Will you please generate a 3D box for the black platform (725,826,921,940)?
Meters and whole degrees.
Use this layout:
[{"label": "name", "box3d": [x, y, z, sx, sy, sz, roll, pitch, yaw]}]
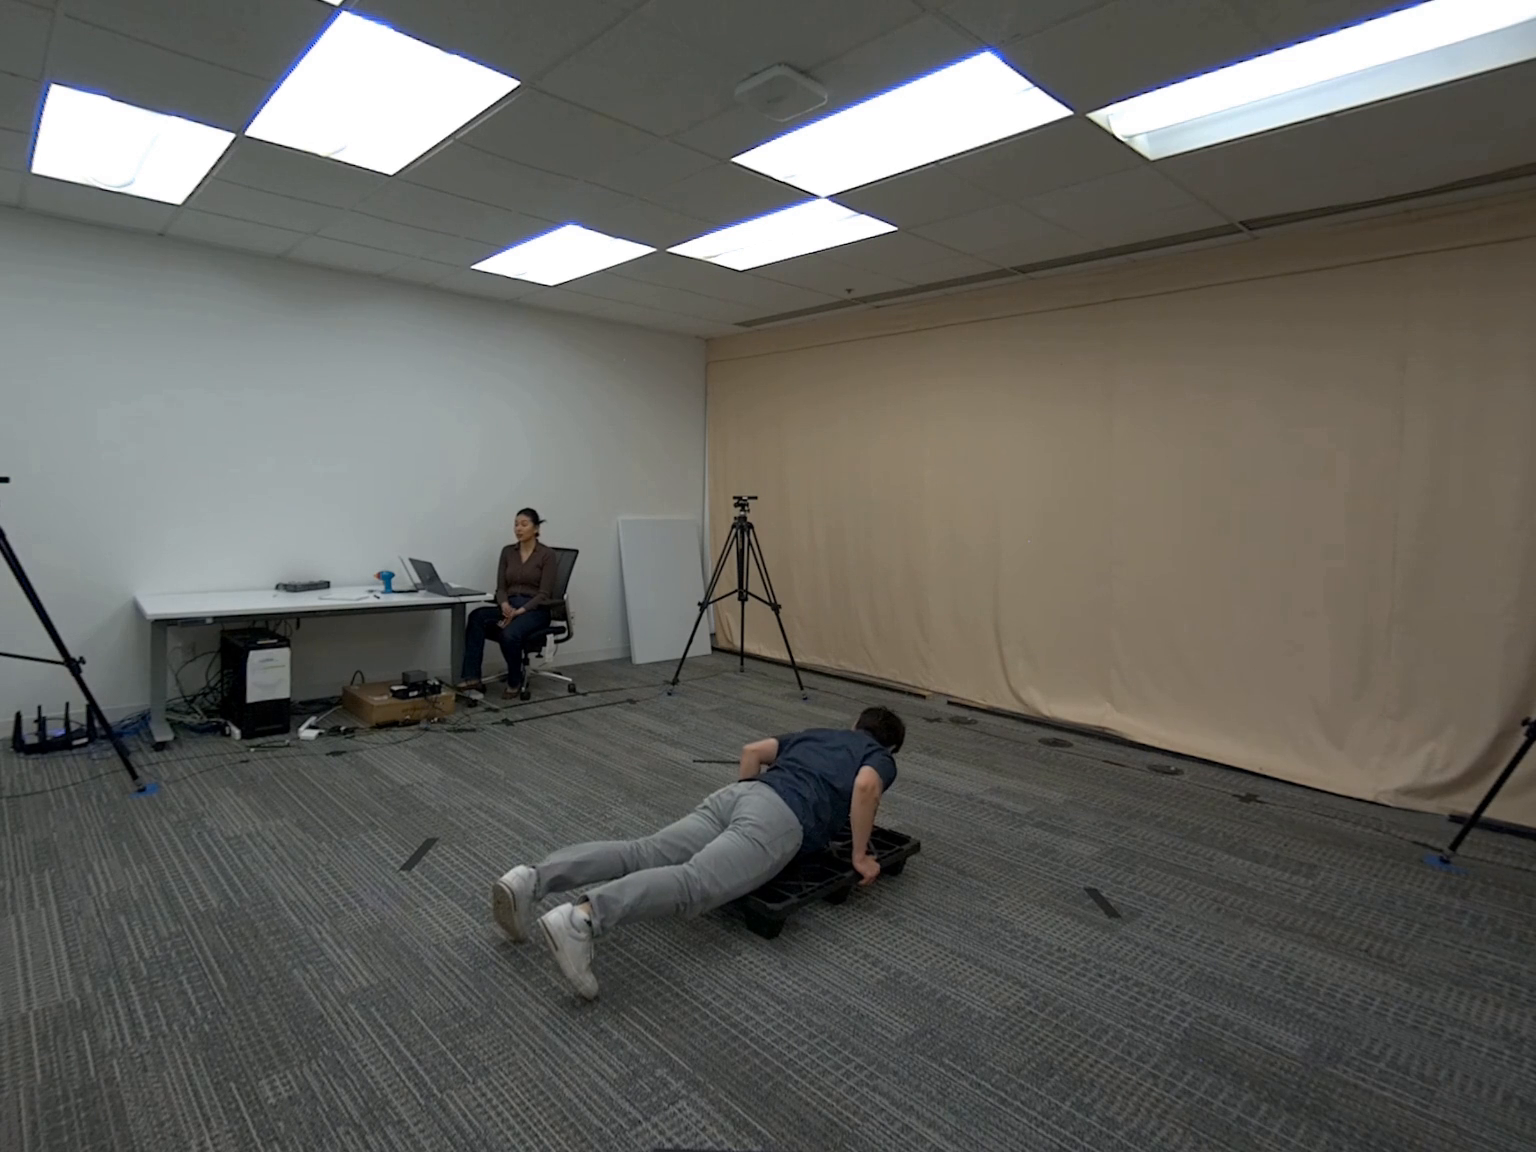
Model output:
[{"label": "black platform", "box3d": [0.084, 1.052, 3.064, 0.620, 0.143, 0.787, 5, 7, 44]}]
